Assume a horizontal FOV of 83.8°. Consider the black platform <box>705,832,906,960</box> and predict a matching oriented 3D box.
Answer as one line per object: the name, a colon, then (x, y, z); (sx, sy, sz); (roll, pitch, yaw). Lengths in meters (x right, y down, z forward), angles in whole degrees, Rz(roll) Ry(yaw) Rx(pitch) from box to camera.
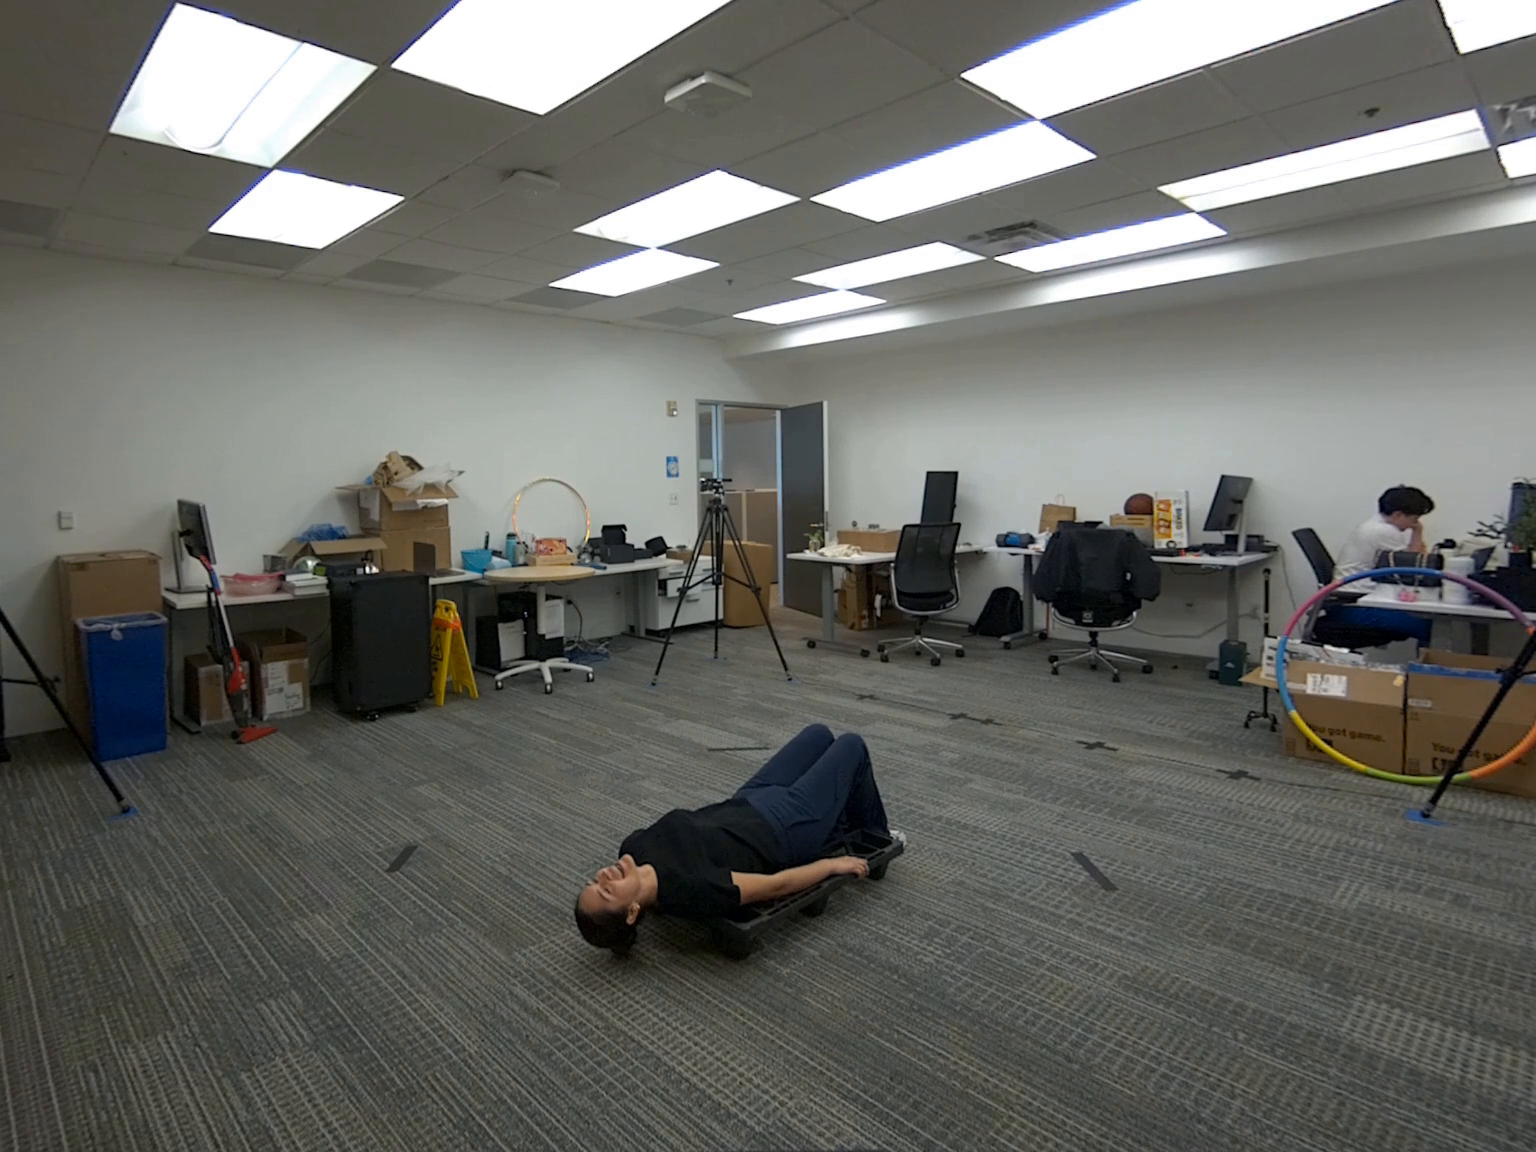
black platform: (-0.010, 1.002, 2.894); (0.624, 0.142, 0.785); (5, 9, 43)
